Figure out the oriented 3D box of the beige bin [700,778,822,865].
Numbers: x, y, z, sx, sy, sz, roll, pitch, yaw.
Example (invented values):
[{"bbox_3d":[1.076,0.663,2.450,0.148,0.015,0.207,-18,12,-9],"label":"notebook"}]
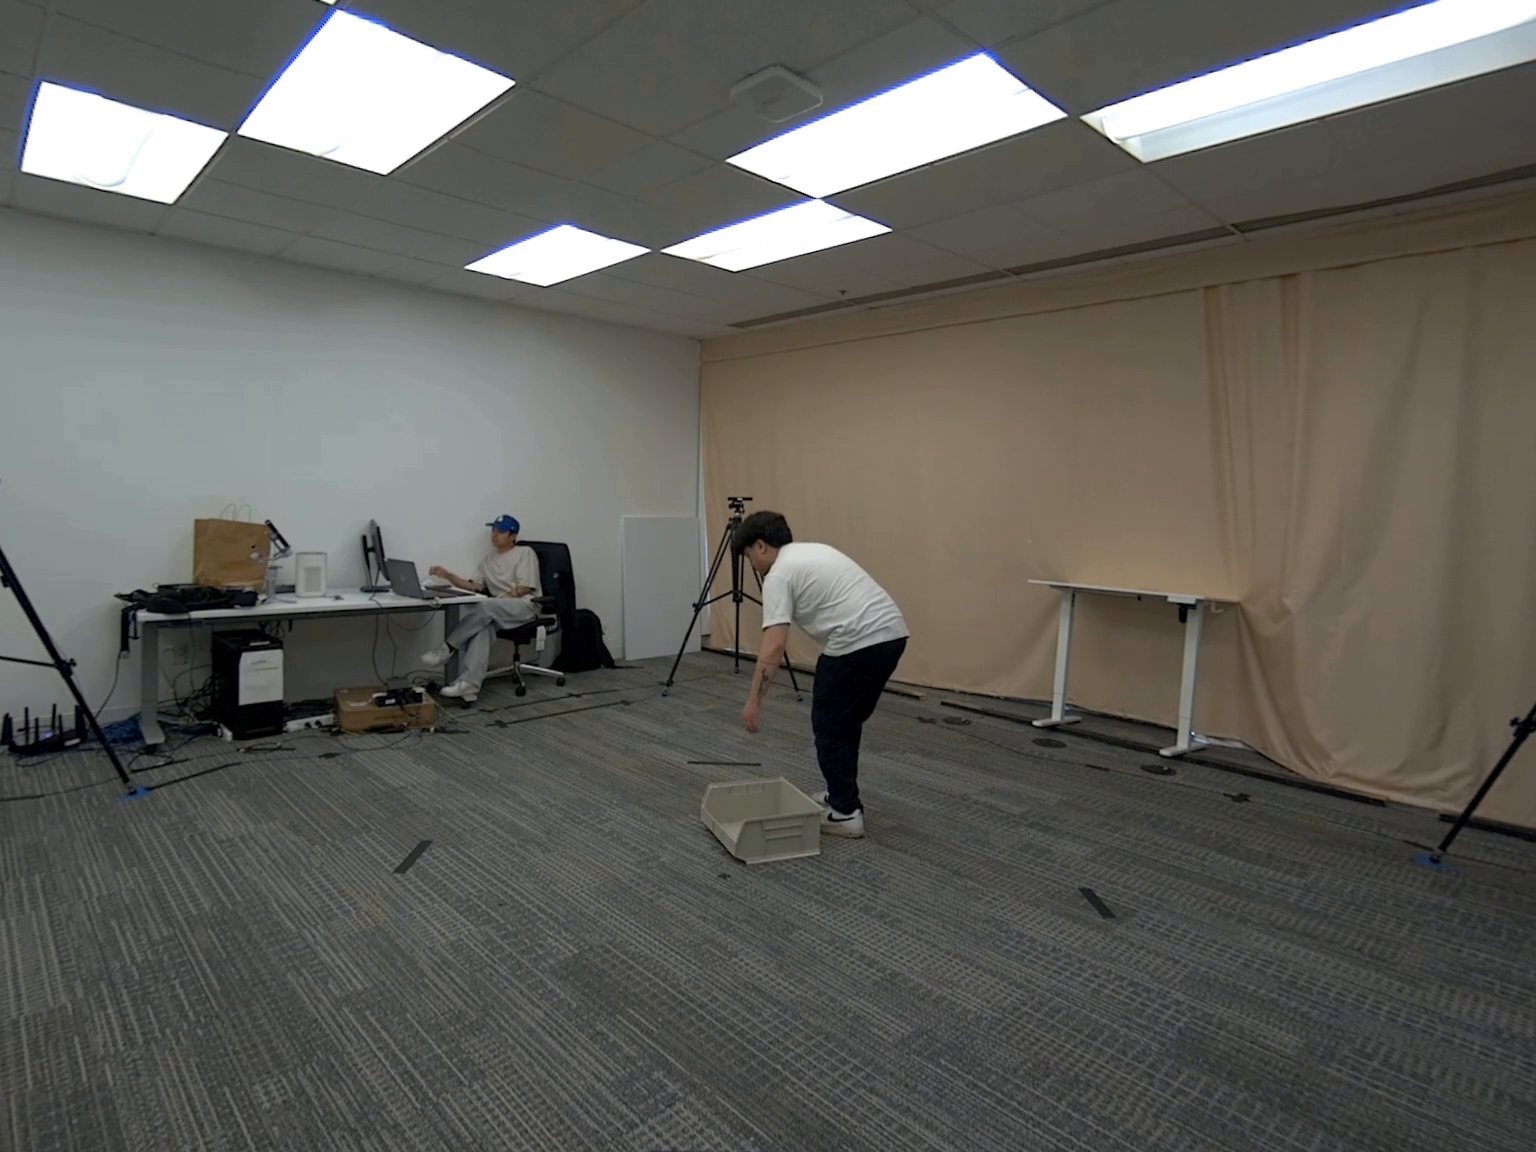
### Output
[{"bbox_3d":[-0.040,0.993,3.438,0.371,0.188,0.430,0,4,-22],"label":"beige bin"}]
